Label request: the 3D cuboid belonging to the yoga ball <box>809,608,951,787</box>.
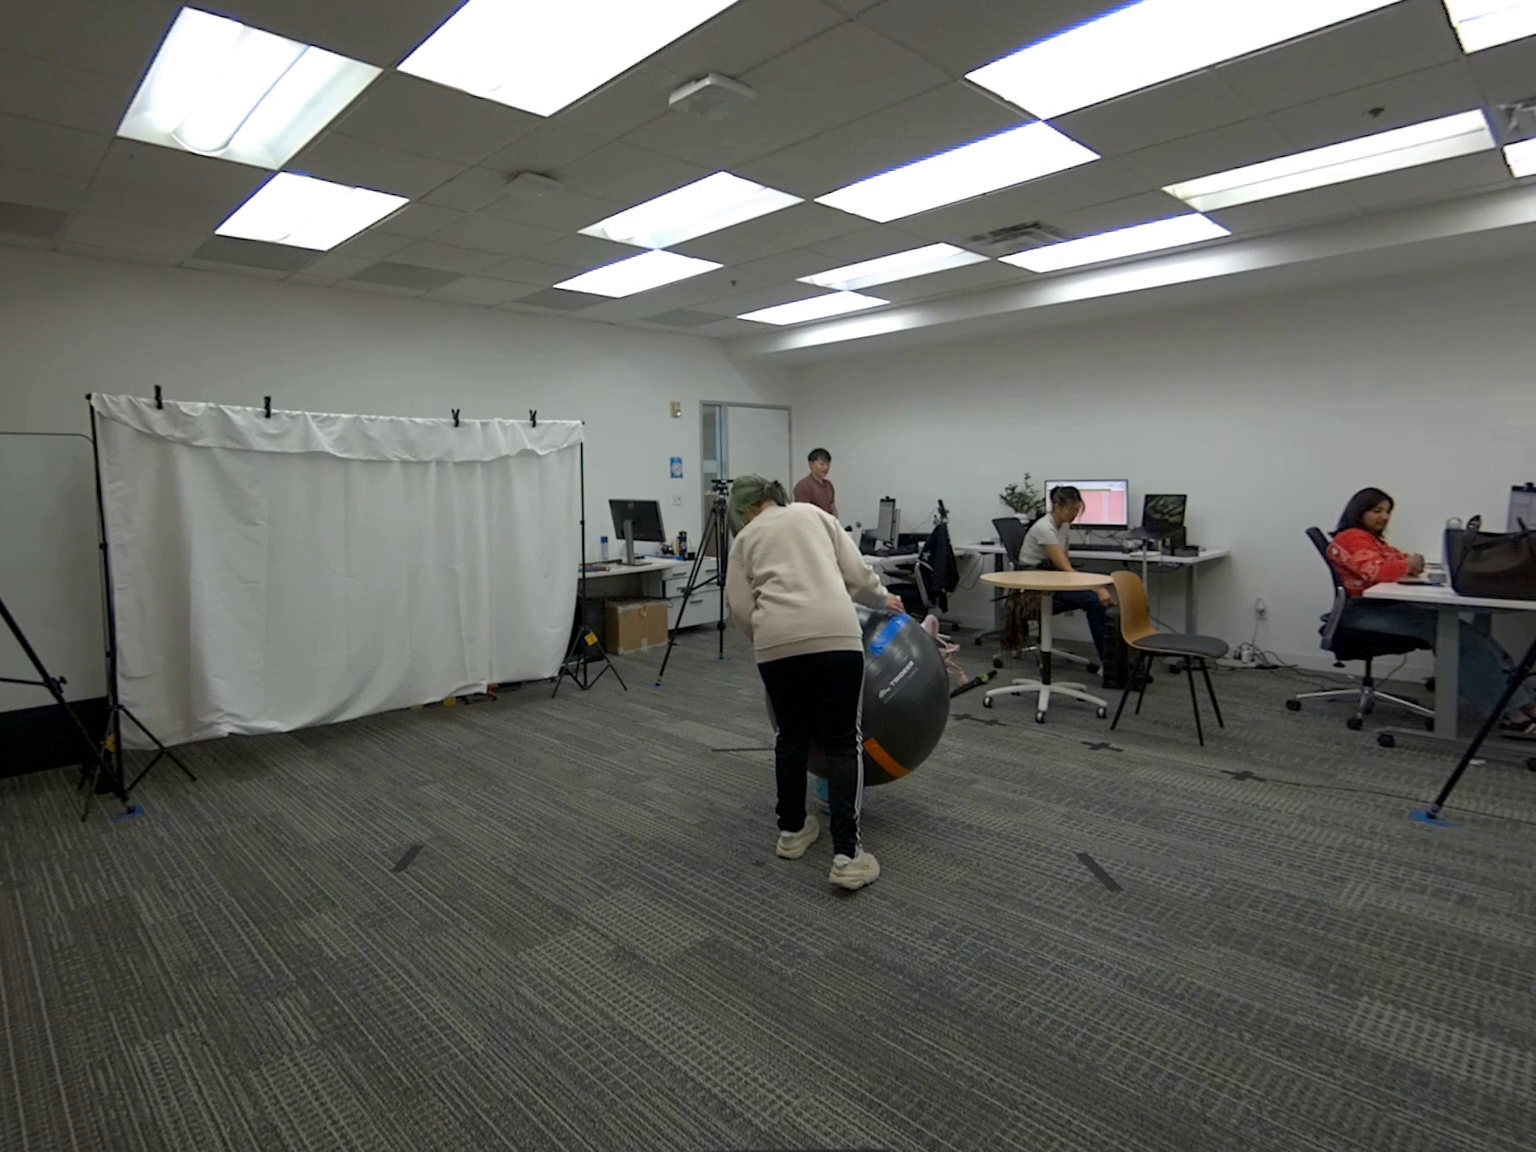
[{"bbox_3d":[0.365,0.480,3.530,0.757,0.755,0.762,-1,5,-2],"label":"yoga ball"}]
